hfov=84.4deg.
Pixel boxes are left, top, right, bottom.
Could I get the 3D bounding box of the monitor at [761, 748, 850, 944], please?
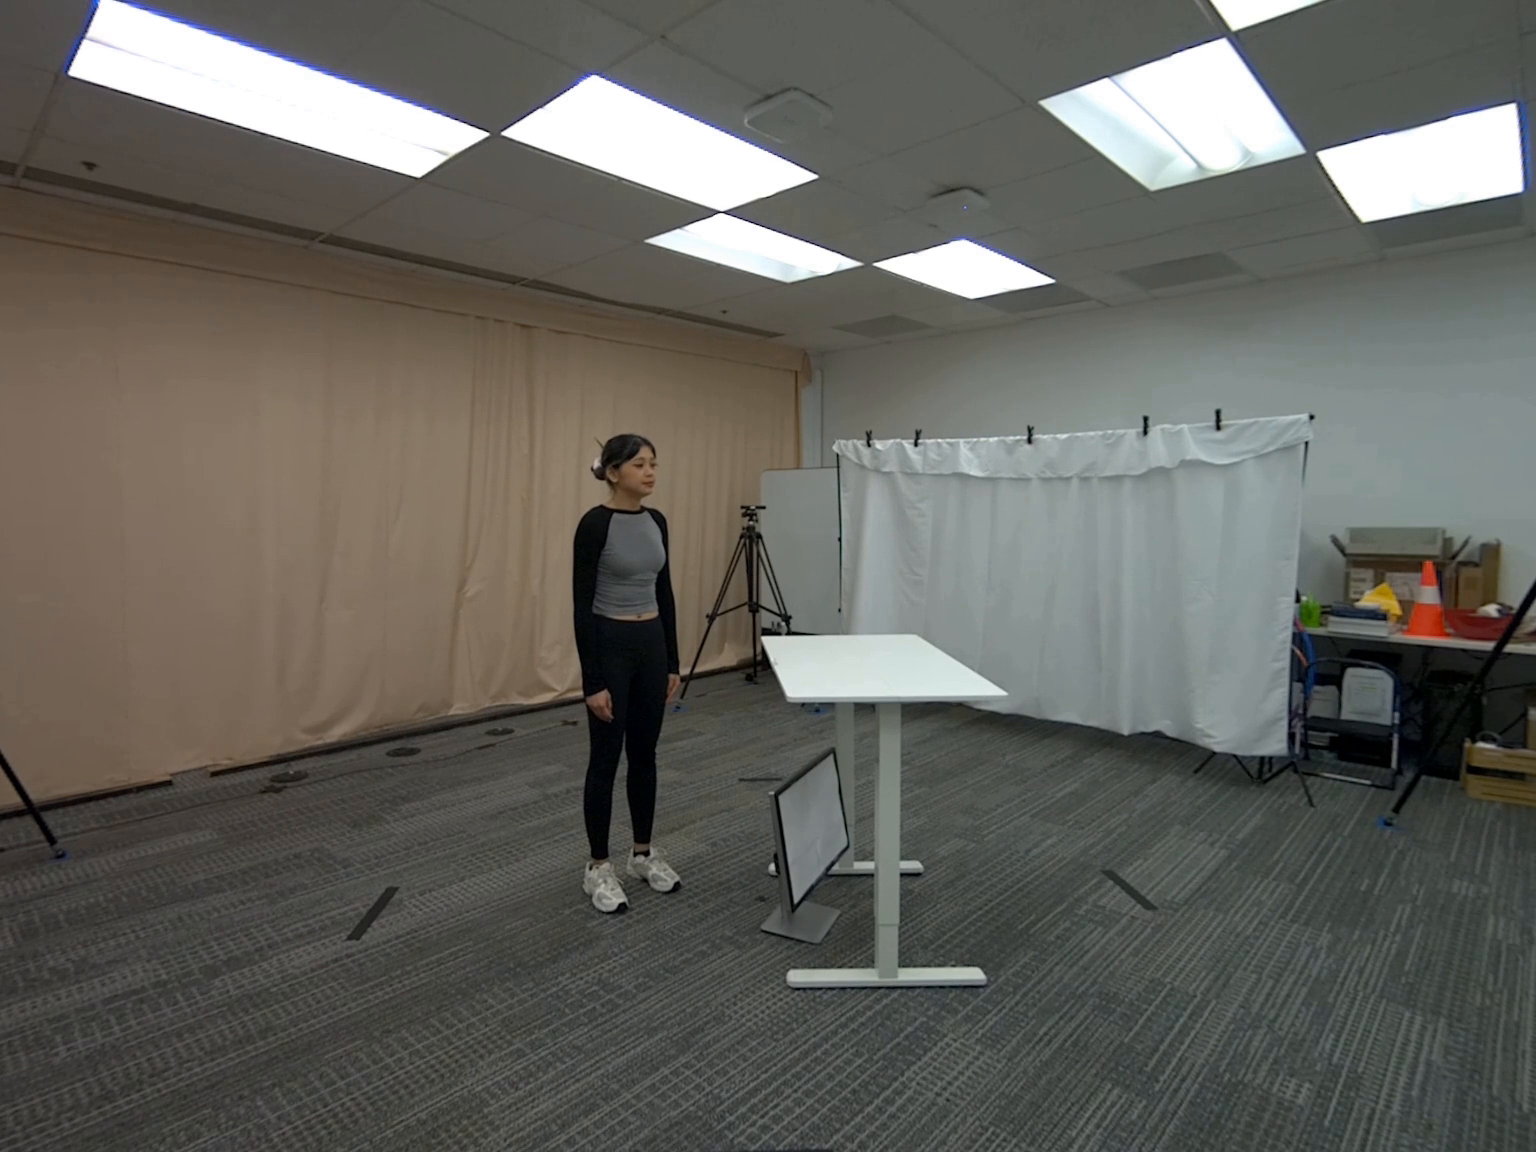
[{"bbox_3d":[0.117,0.900,2.800,0.192,0.521,0.527,4,5,22],"label":"monitor"}]
